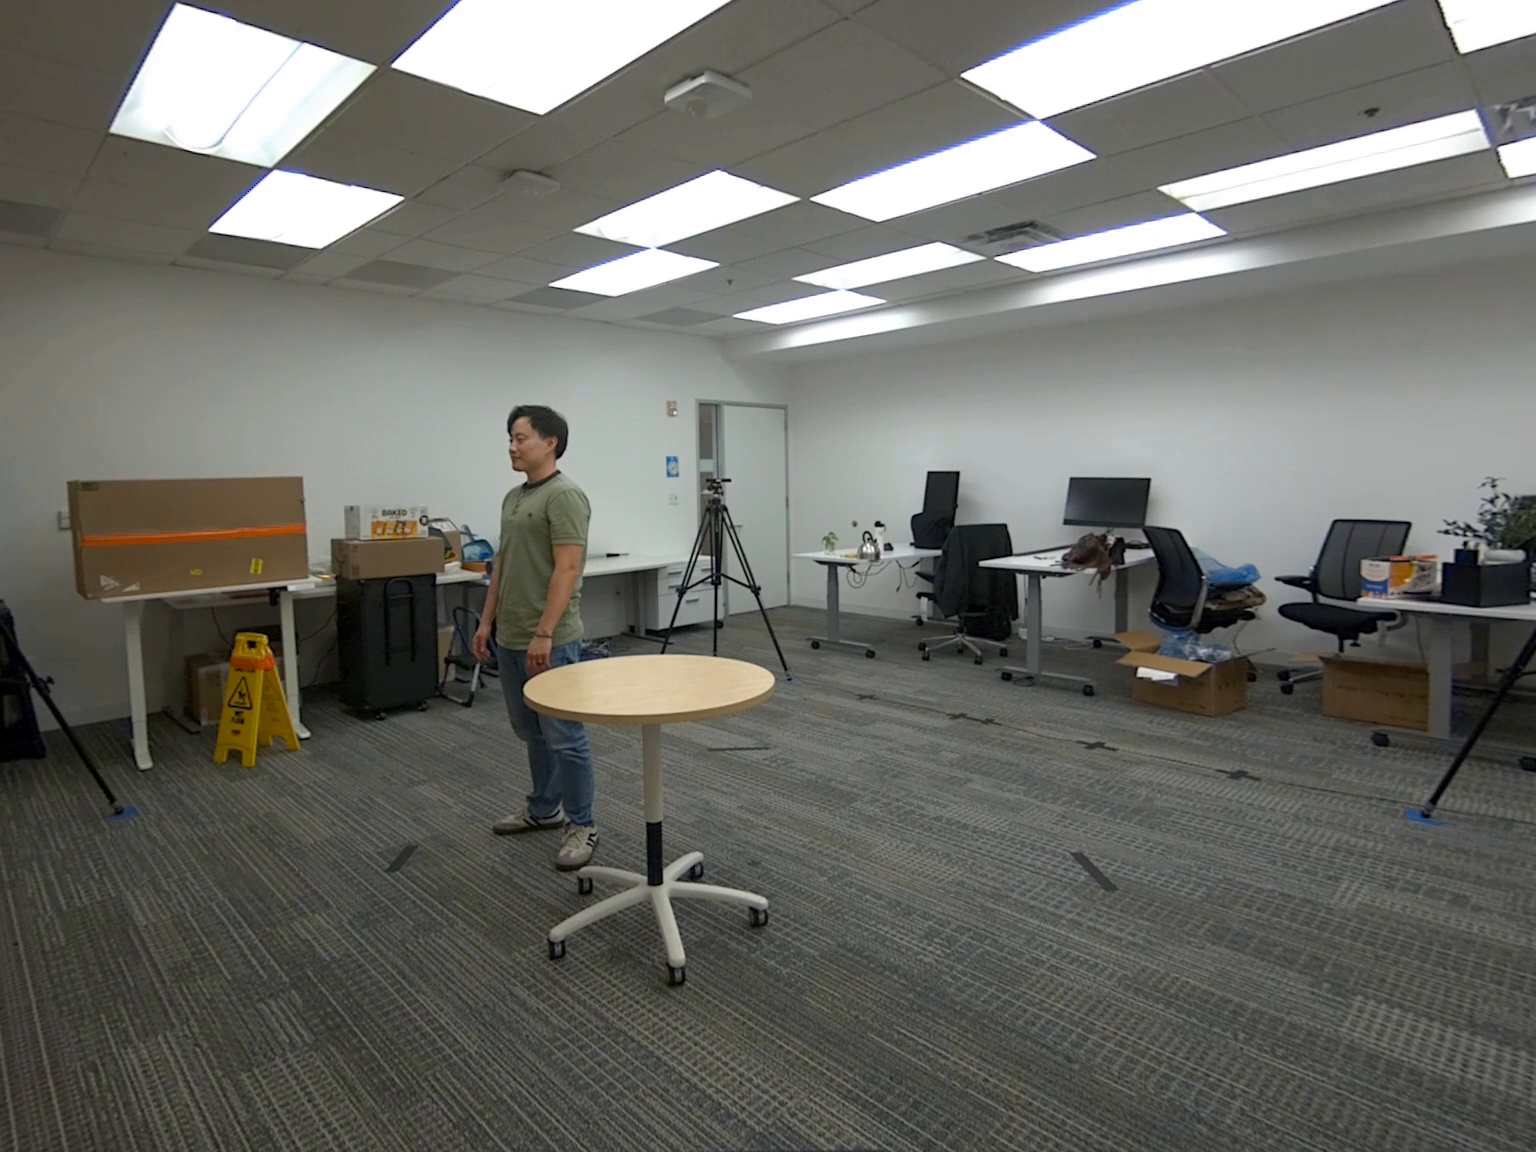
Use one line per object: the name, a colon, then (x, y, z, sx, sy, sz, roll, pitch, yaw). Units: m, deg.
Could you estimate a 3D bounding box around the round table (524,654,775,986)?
round table: (-0.355, 0.716, 2.656, 0.763, 0.790, 0.768, -1, 5, -2)
